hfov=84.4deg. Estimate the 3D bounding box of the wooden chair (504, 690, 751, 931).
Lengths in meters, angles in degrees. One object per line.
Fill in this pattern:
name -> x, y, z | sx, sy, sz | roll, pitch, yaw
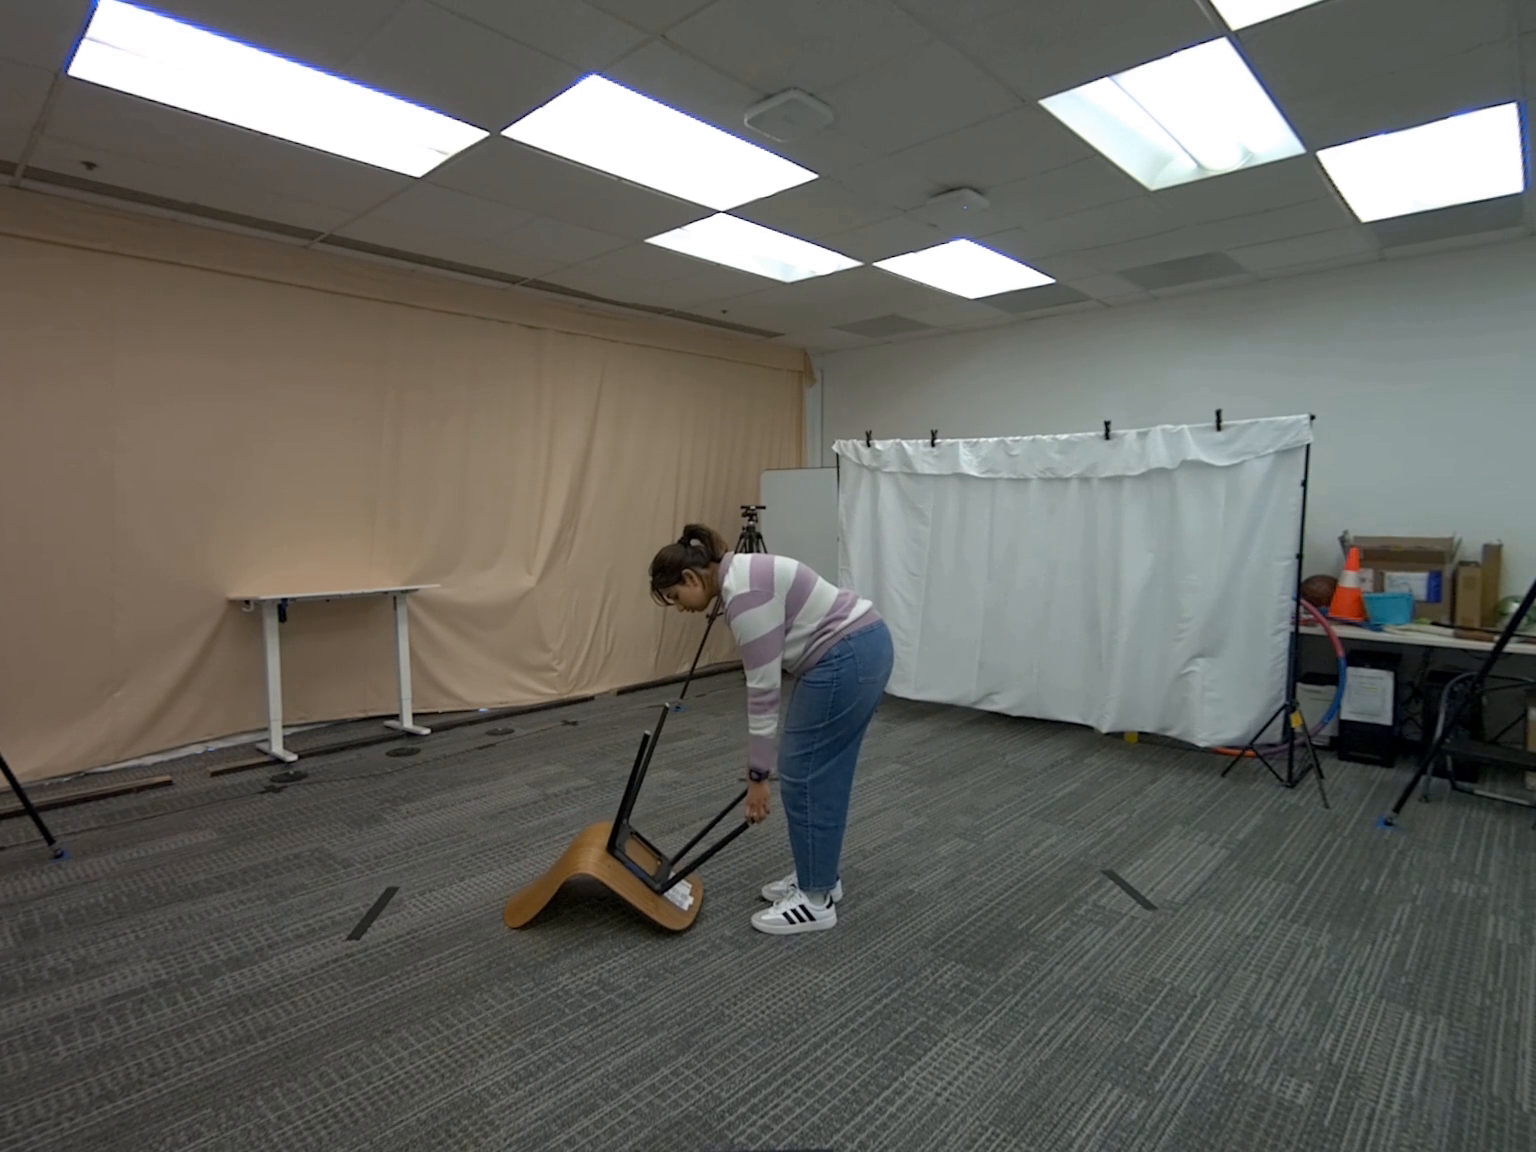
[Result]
wooden chair -> -0.437, 0.973, 2.920 | 0.525, 0.878, 0.476 | 39, 4, 2
